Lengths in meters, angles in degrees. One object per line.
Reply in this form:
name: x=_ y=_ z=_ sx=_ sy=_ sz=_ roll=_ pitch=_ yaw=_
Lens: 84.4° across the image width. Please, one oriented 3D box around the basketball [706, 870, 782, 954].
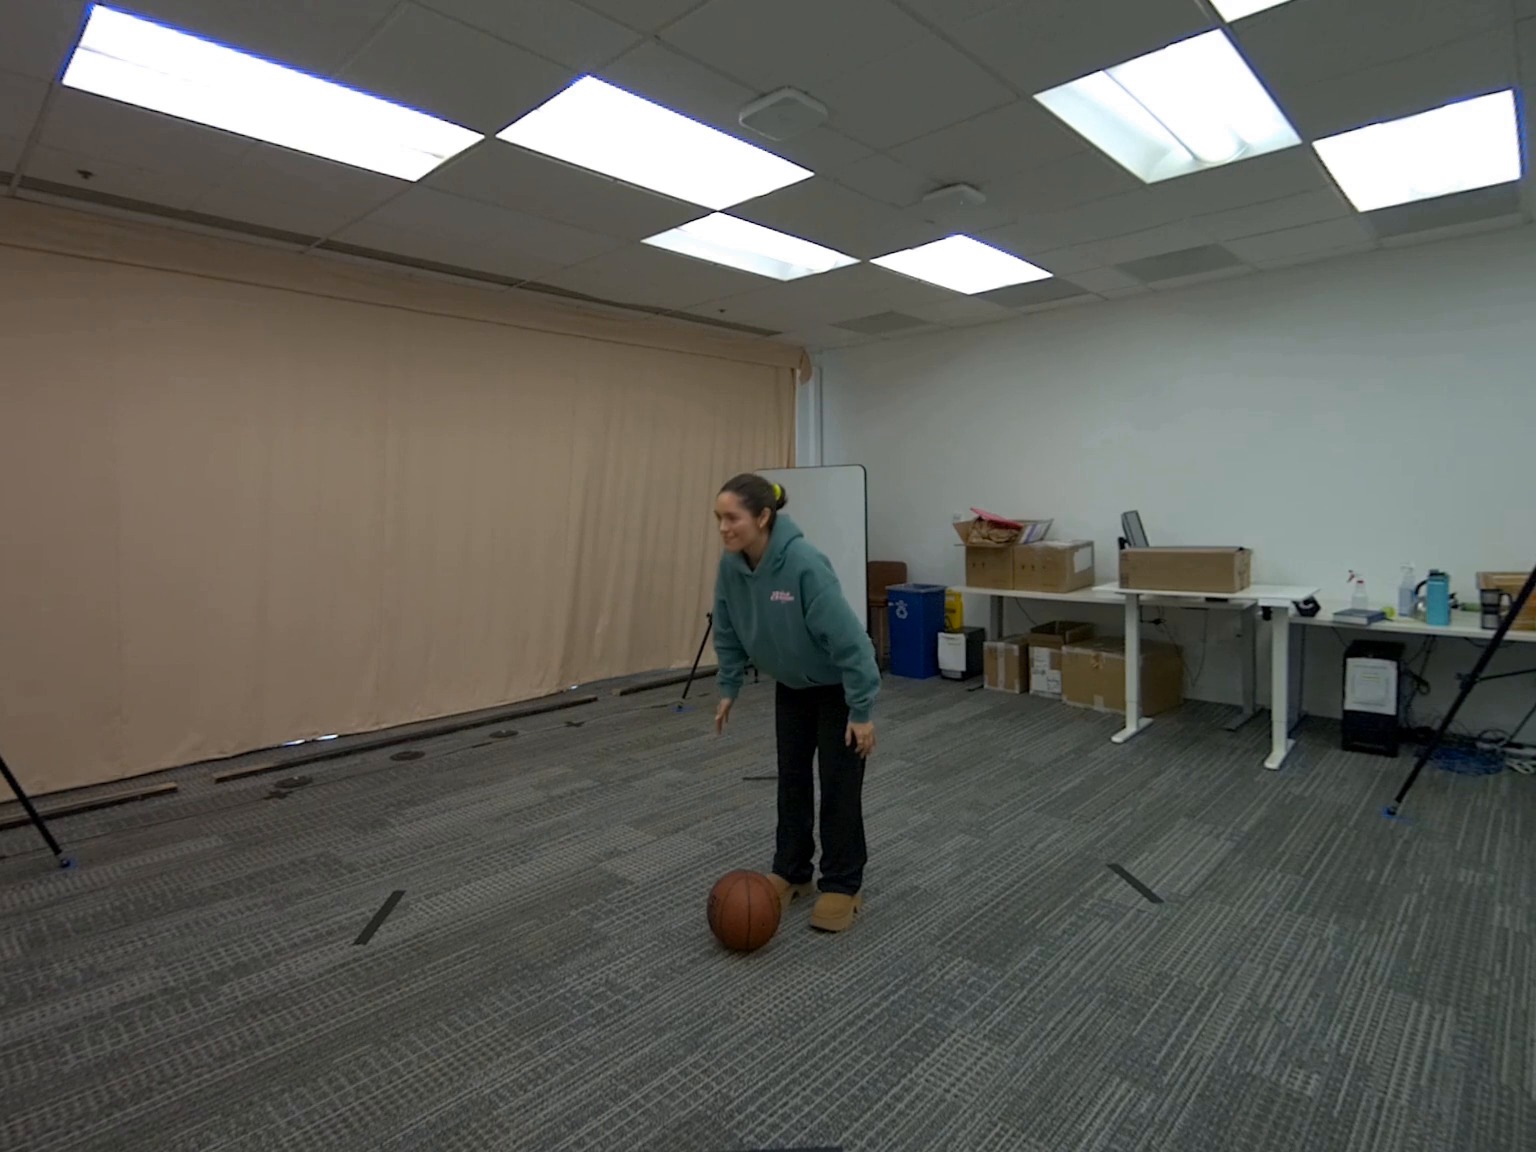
basketball: x=-0.073 y=1.052 z=2.653 sx=0.236 sy=0.235 sz=0.237 roll=-1 pitch=4 yaw=-2
